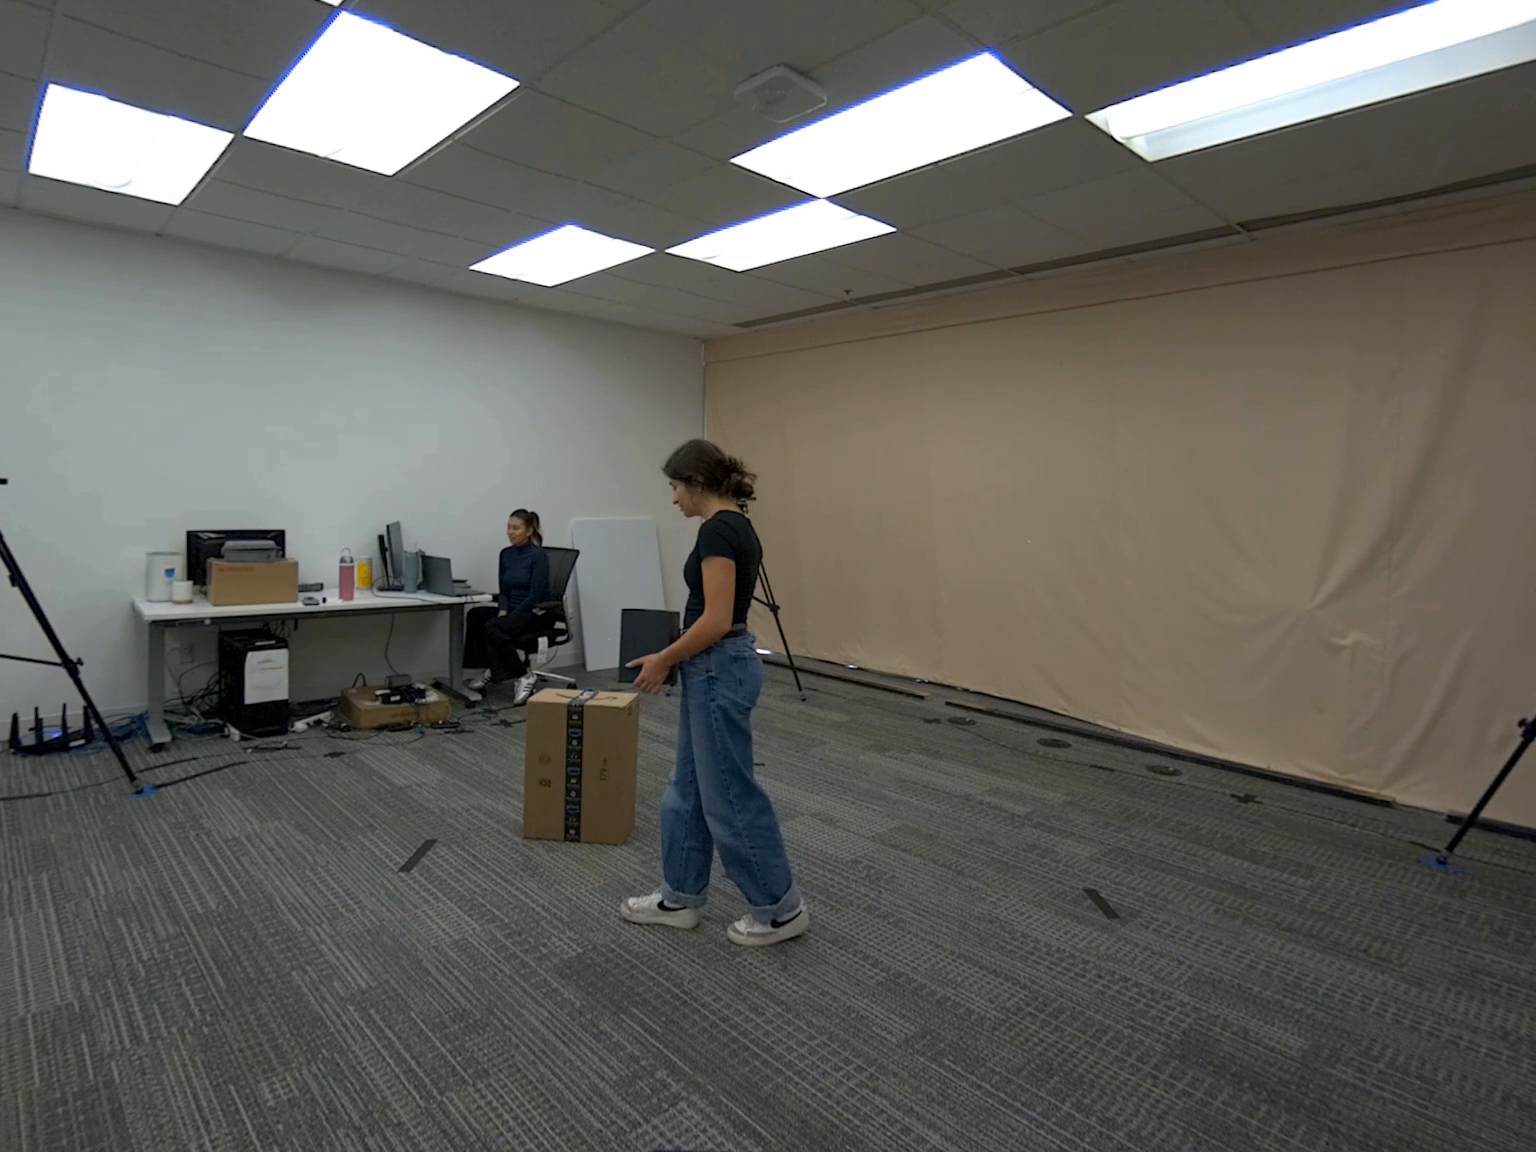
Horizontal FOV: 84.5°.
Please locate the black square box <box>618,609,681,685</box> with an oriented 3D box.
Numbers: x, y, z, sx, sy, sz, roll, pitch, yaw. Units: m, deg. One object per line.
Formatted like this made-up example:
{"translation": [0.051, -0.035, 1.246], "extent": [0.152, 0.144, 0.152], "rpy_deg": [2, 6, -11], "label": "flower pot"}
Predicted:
{"translation": [-0.379, 0.221, 2.708], "extent": [0.156, 0.228, 0.215], "rpy_deg": [2, -4, 3], "label": "black square box"}
